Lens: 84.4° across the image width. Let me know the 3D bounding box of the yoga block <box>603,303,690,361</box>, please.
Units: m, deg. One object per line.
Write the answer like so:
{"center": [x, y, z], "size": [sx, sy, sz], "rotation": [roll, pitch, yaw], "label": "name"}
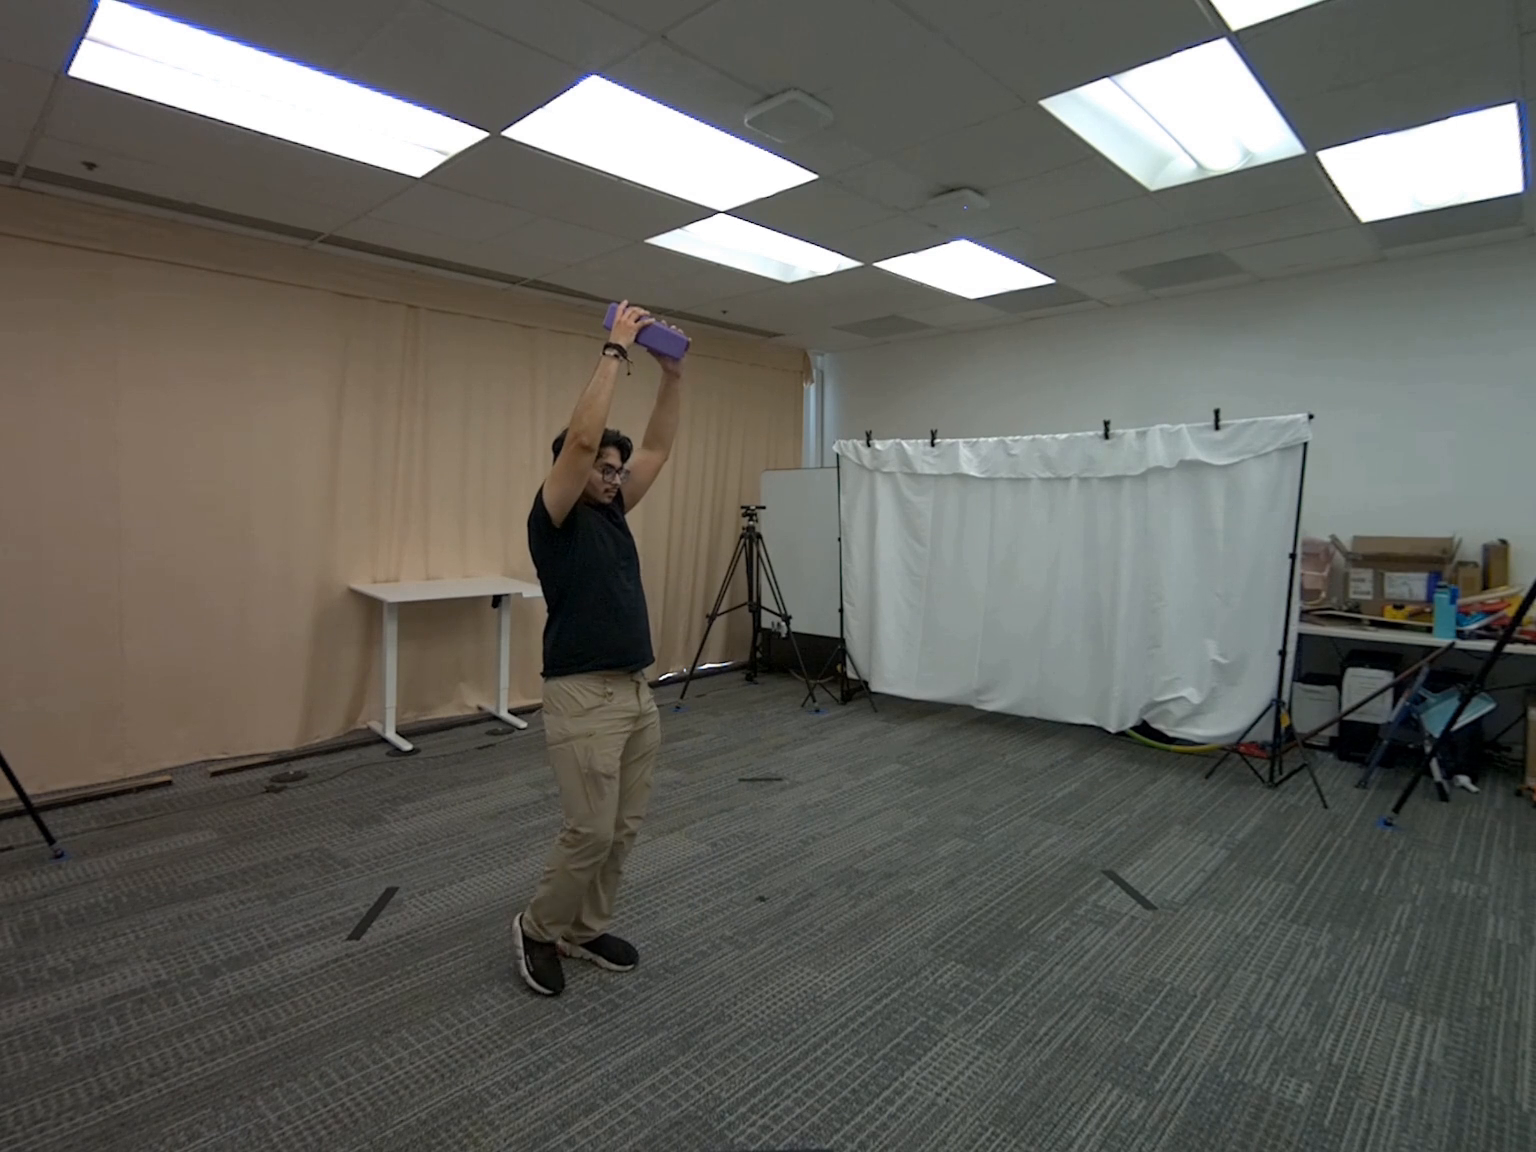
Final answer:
{"center": [-0.341, -0.699, 2.407], "size": [0.153, 0.076, 0.224], "rotation": [31, 13, 21], "label": "yoga block"}
